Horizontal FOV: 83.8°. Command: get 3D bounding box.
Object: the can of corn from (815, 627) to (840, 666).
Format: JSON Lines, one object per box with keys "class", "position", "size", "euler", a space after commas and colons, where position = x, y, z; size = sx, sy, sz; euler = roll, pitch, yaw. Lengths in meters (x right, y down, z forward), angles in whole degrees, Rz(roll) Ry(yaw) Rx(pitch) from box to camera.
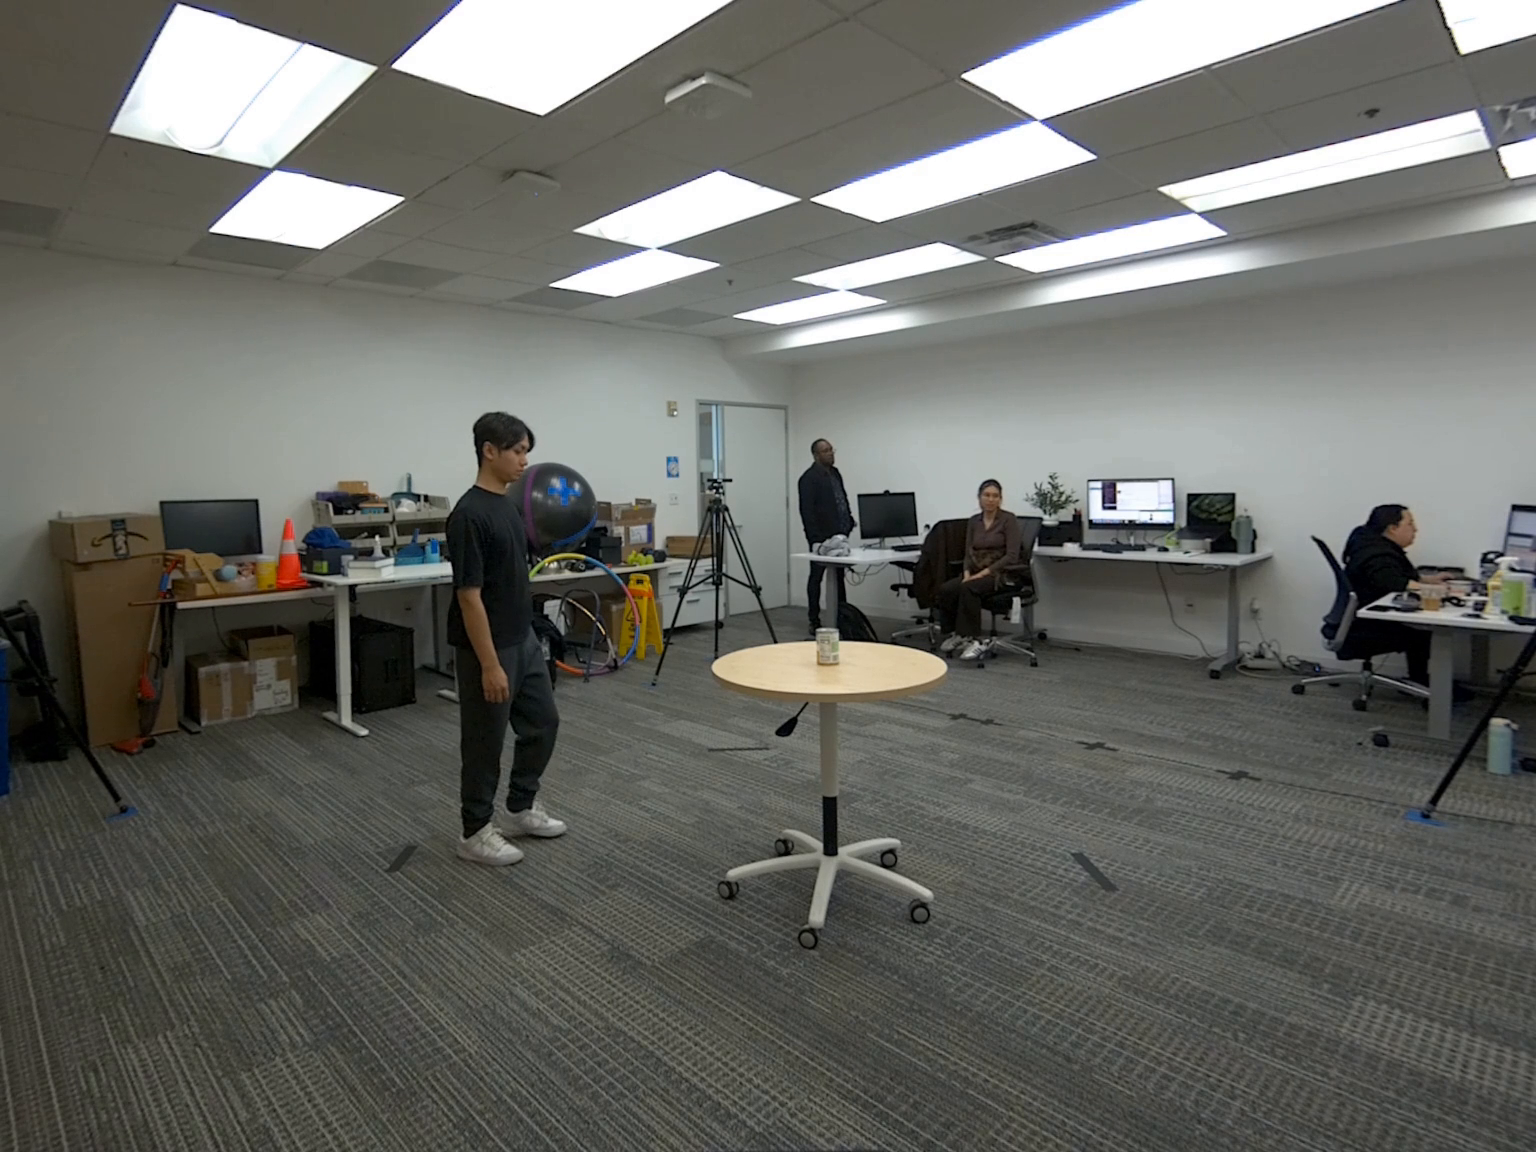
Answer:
{"class": "can of corn", "position": [0.196, 0.233, 2.819], "size": [0.074, 0.110, 0.074], "euler": [-2, 4, -1]}
